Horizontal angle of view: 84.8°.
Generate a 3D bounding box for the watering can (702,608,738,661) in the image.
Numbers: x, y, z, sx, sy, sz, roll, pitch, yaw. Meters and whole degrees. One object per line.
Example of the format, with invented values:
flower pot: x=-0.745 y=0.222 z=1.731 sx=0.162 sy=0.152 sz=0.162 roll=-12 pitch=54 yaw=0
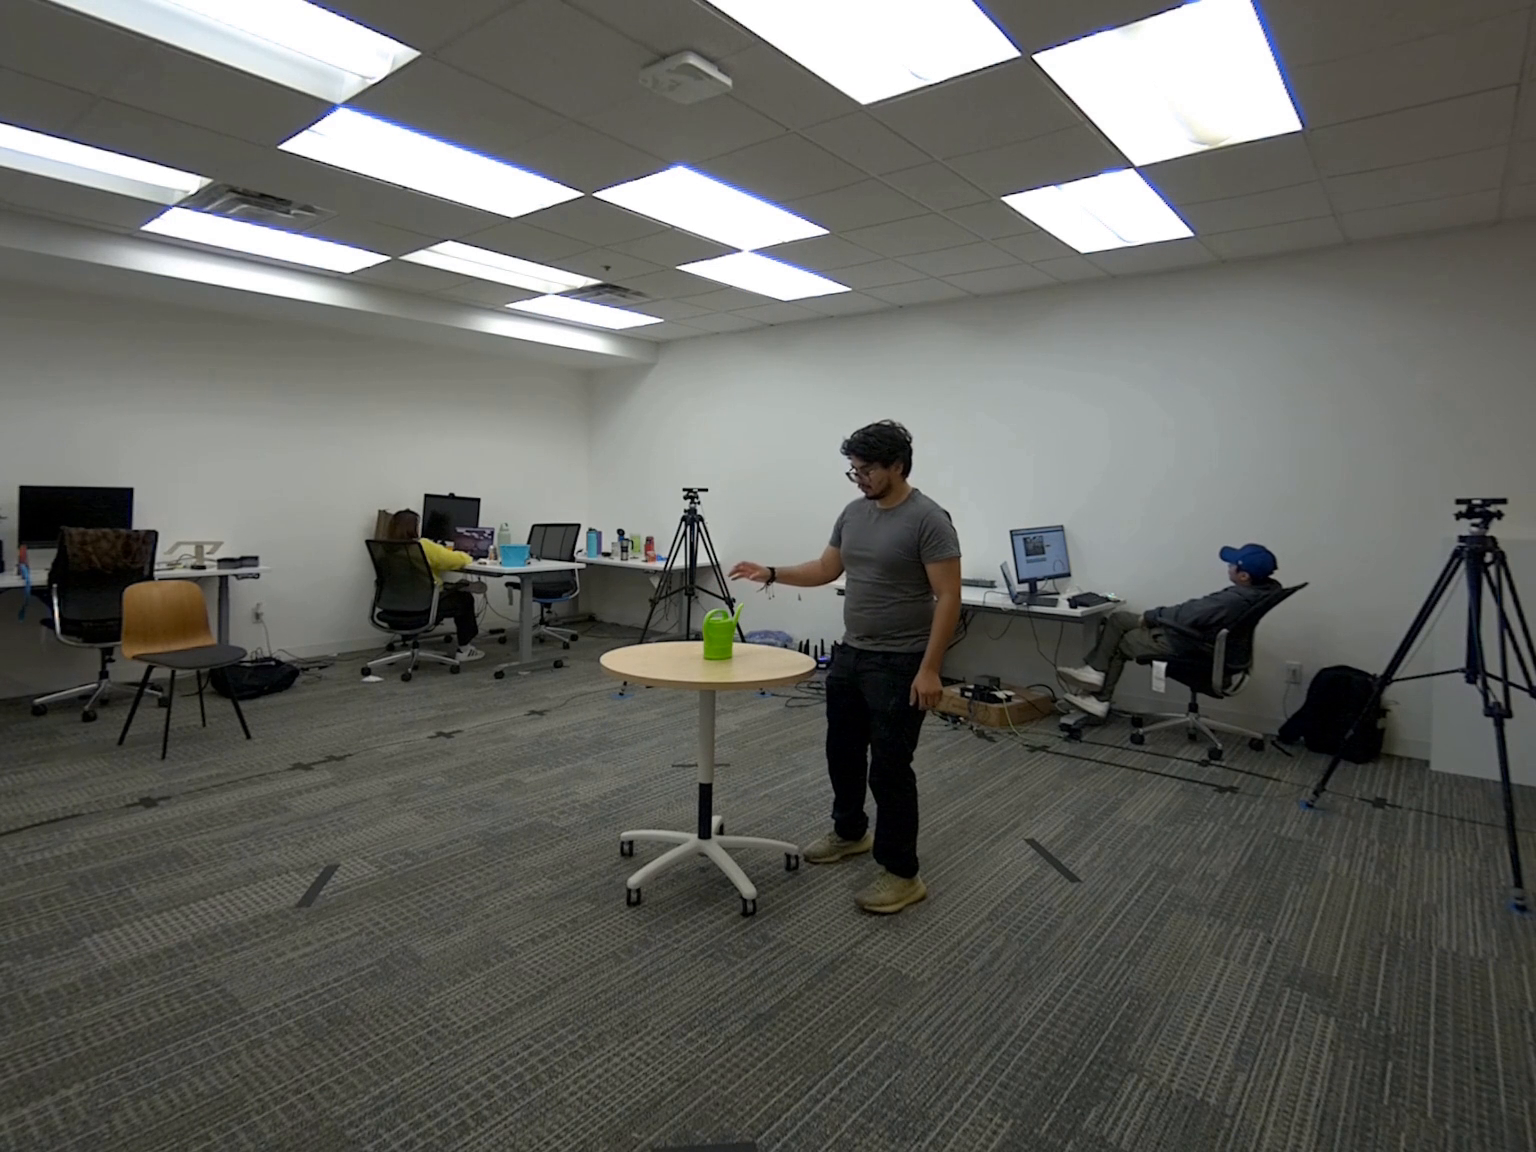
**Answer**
watering can: x=-0.161 y=0.199 z=3.103 sx=0.101 sy=0.176 sz=0.270 roll=3 pitch=5 yaw=43
